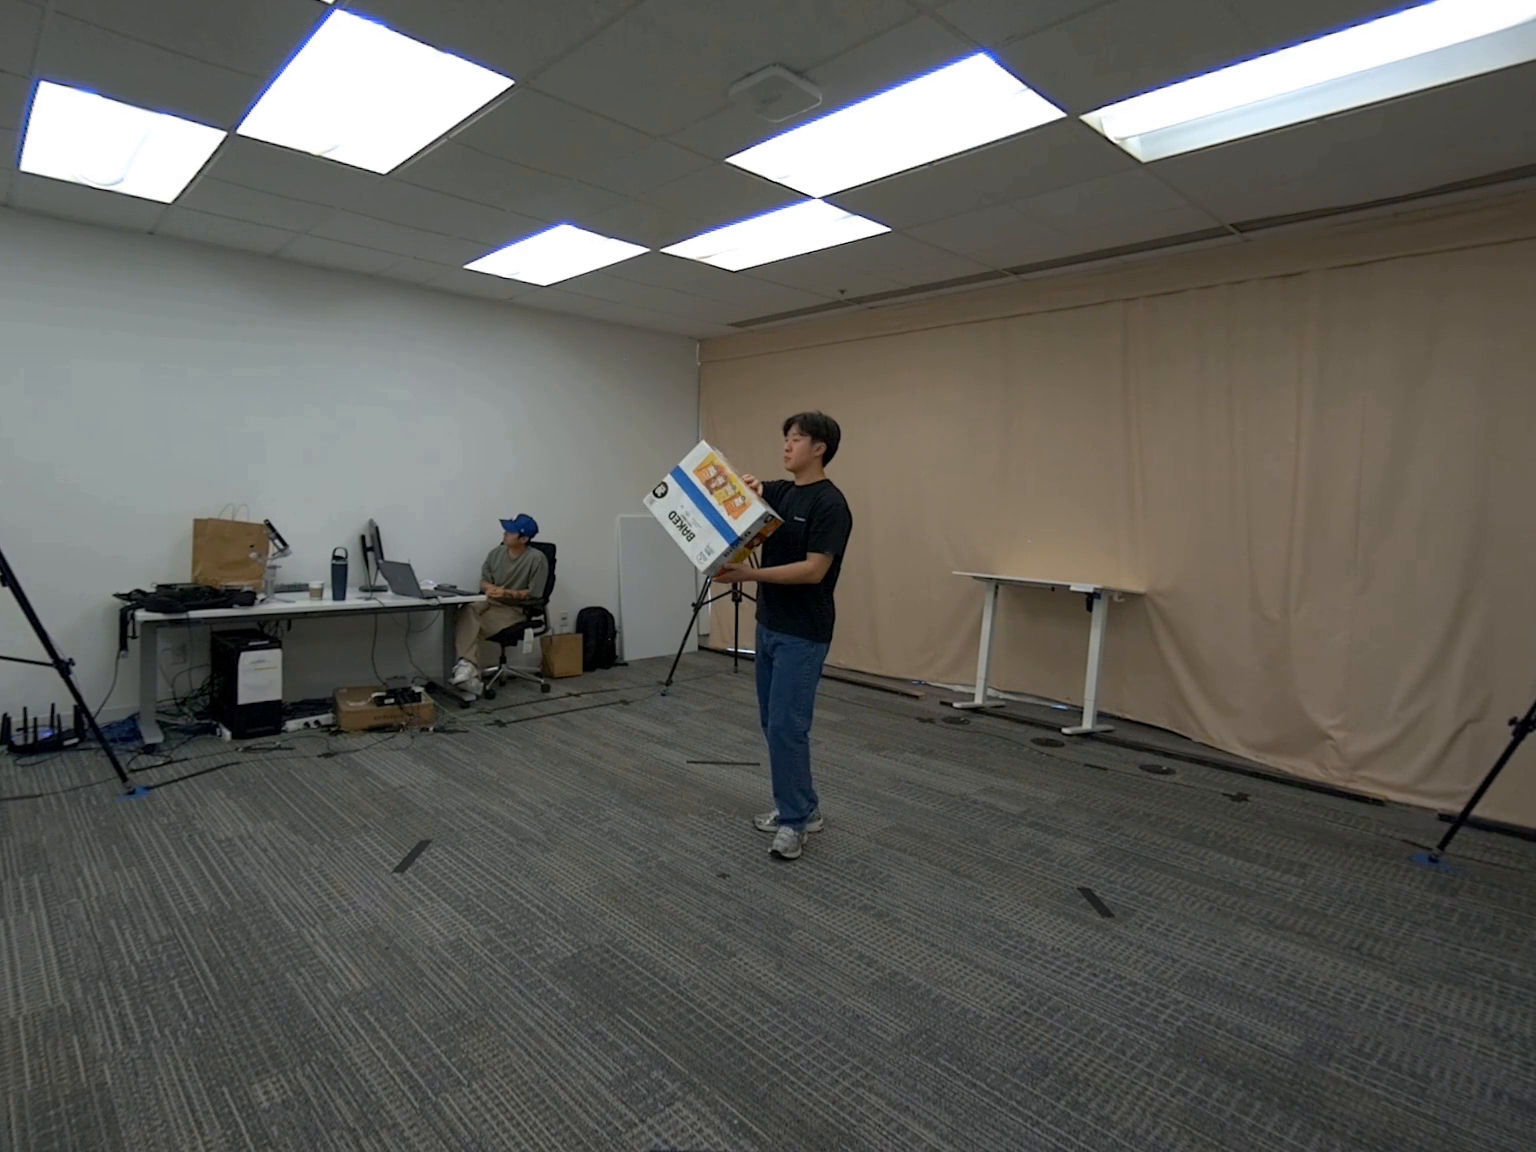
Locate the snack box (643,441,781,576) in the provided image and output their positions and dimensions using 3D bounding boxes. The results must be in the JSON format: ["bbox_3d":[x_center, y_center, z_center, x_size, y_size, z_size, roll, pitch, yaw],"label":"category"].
[{"bbox_3d":[-0.218,-0.253,3.283,0.414,0.340,0.201,49,9,22],"label":"snack box"}]
